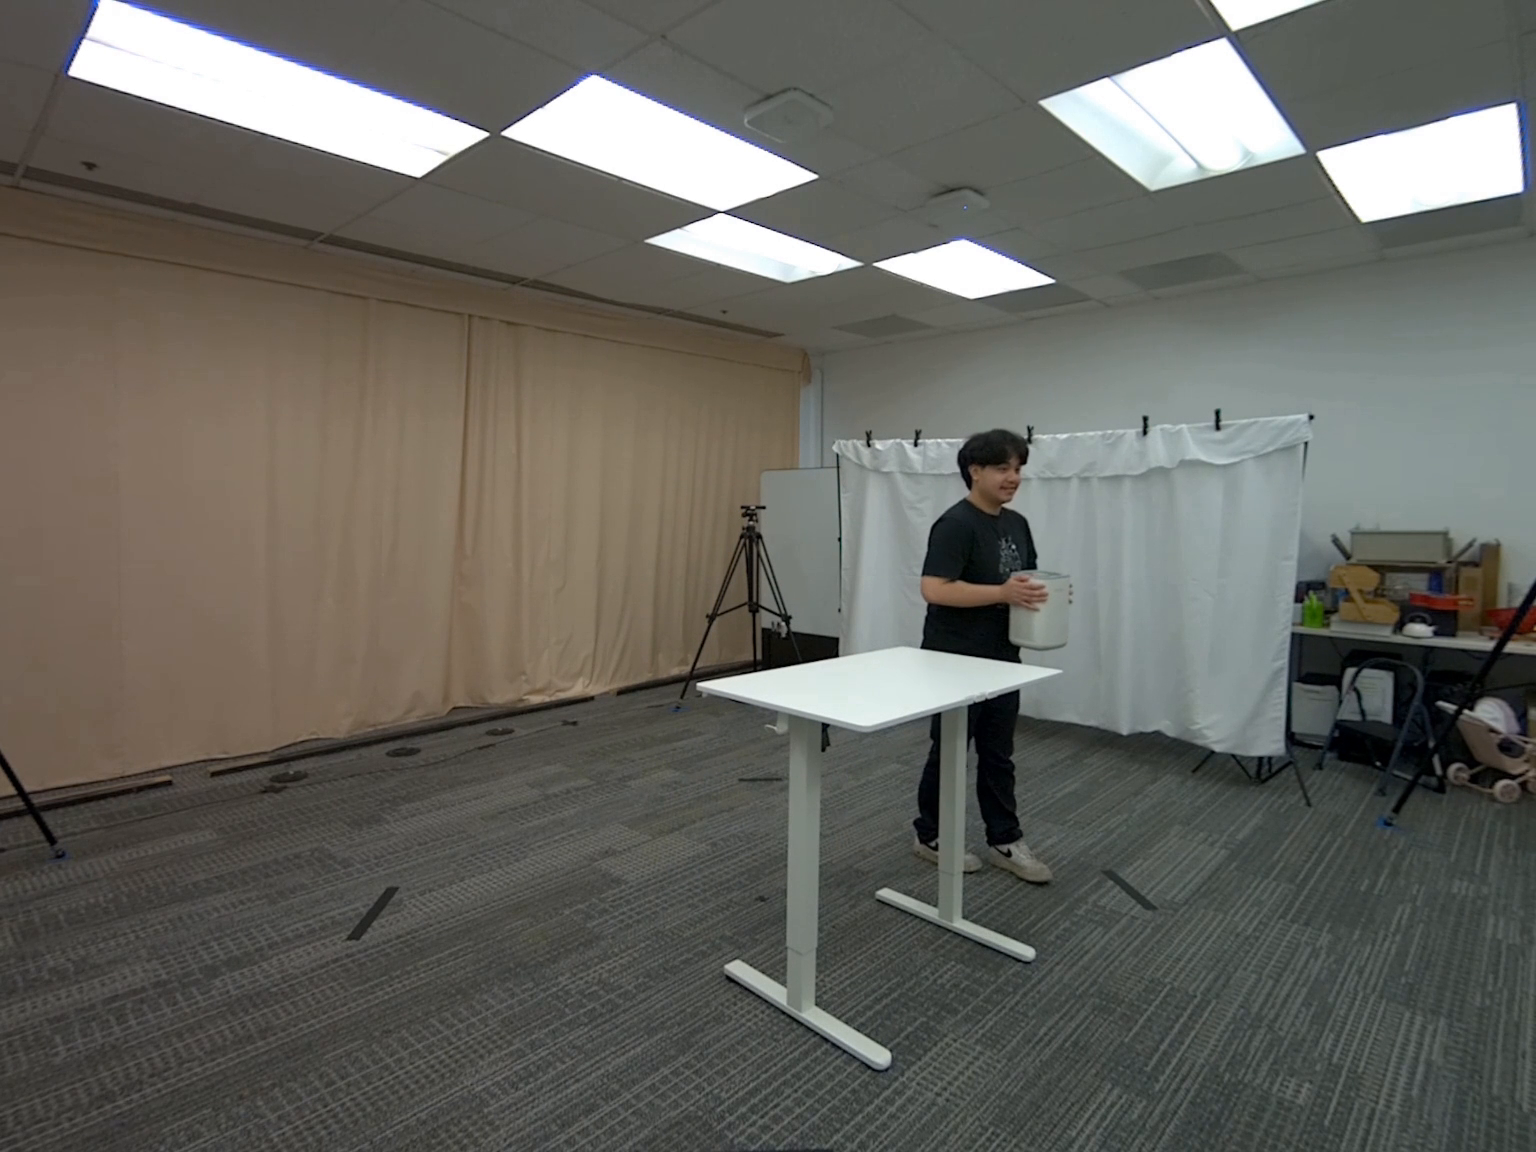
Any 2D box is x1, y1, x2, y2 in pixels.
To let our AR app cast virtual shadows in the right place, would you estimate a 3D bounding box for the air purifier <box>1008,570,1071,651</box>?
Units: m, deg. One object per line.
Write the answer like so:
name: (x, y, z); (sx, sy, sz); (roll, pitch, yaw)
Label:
air purifier: (0.964, 0.124, 3.028); (0.167, 0.264, 0.177); (-6, 8, -31)
